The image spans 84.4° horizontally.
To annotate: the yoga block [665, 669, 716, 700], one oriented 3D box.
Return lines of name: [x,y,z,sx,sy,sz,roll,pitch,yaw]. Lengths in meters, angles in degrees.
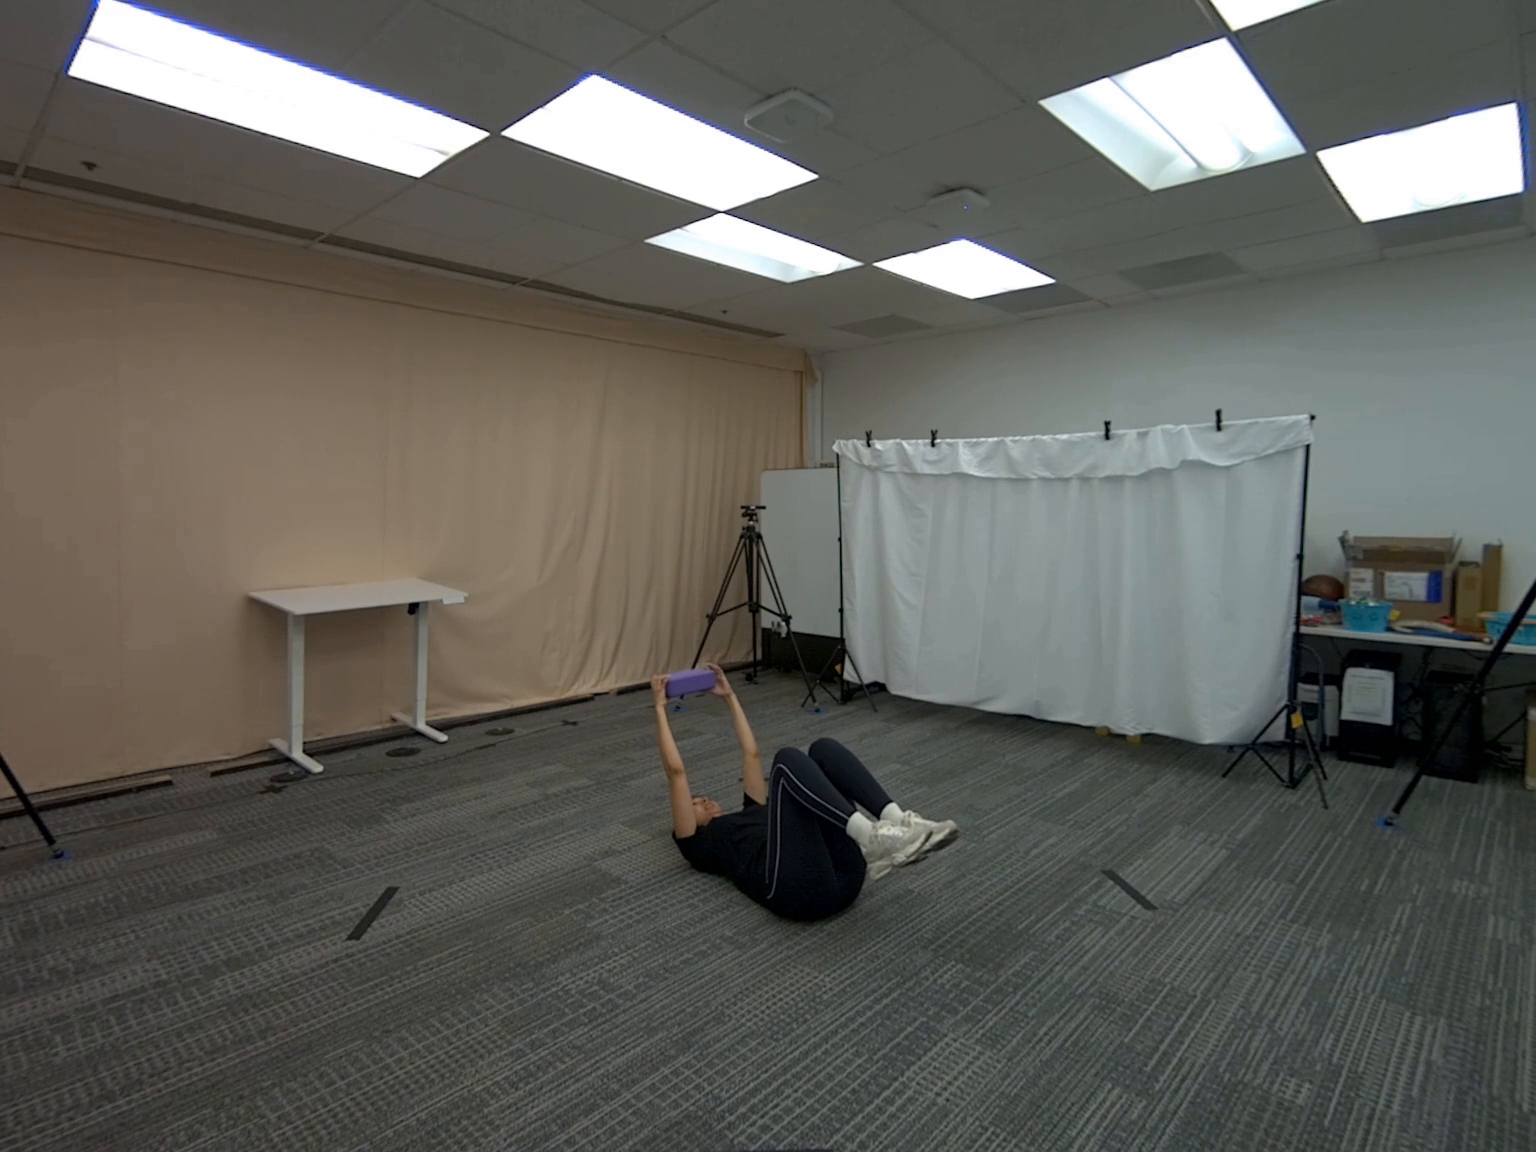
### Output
yoga block: [-0.351,0.442,3.519,0.223,0.076,0.153,-8,2,-38]
